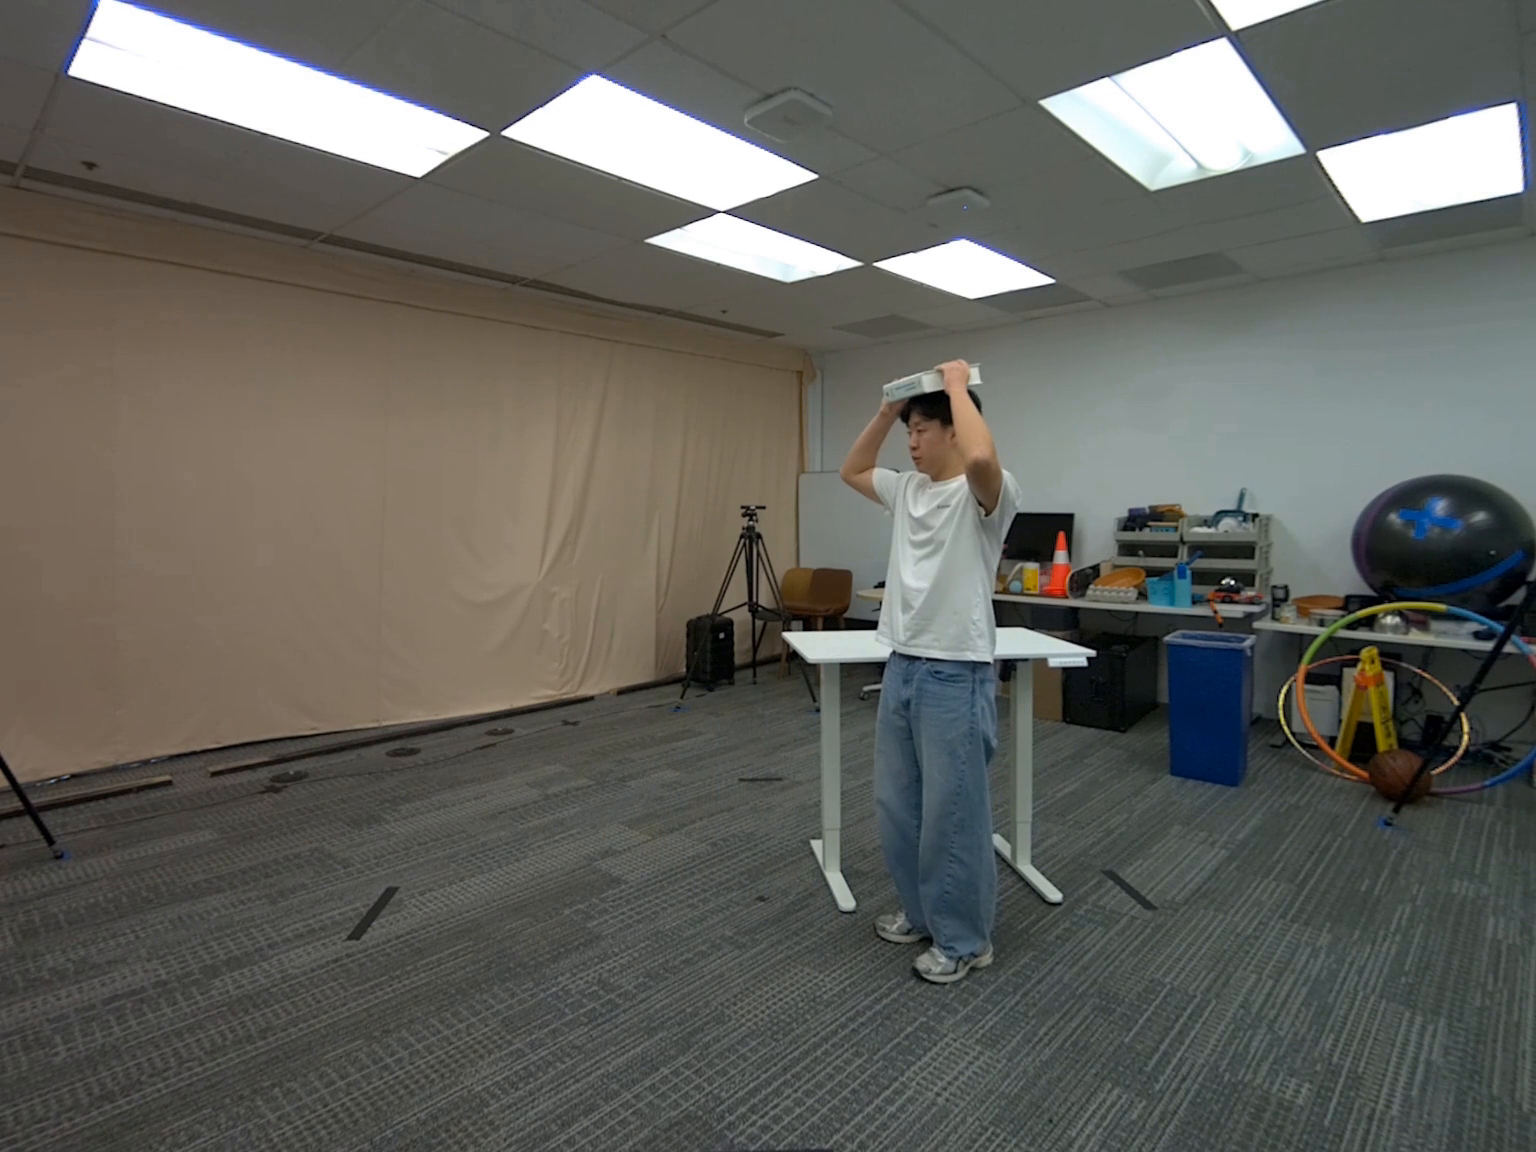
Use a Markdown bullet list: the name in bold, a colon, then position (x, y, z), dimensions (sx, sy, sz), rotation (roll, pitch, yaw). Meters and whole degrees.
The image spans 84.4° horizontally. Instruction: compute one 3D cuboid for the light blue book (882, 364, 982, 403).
- **light blue book**: position (0.495, -0.571, 2.525), dimensions (0.189, 0.059, 0.265), rotation (-13, 8, -13)
